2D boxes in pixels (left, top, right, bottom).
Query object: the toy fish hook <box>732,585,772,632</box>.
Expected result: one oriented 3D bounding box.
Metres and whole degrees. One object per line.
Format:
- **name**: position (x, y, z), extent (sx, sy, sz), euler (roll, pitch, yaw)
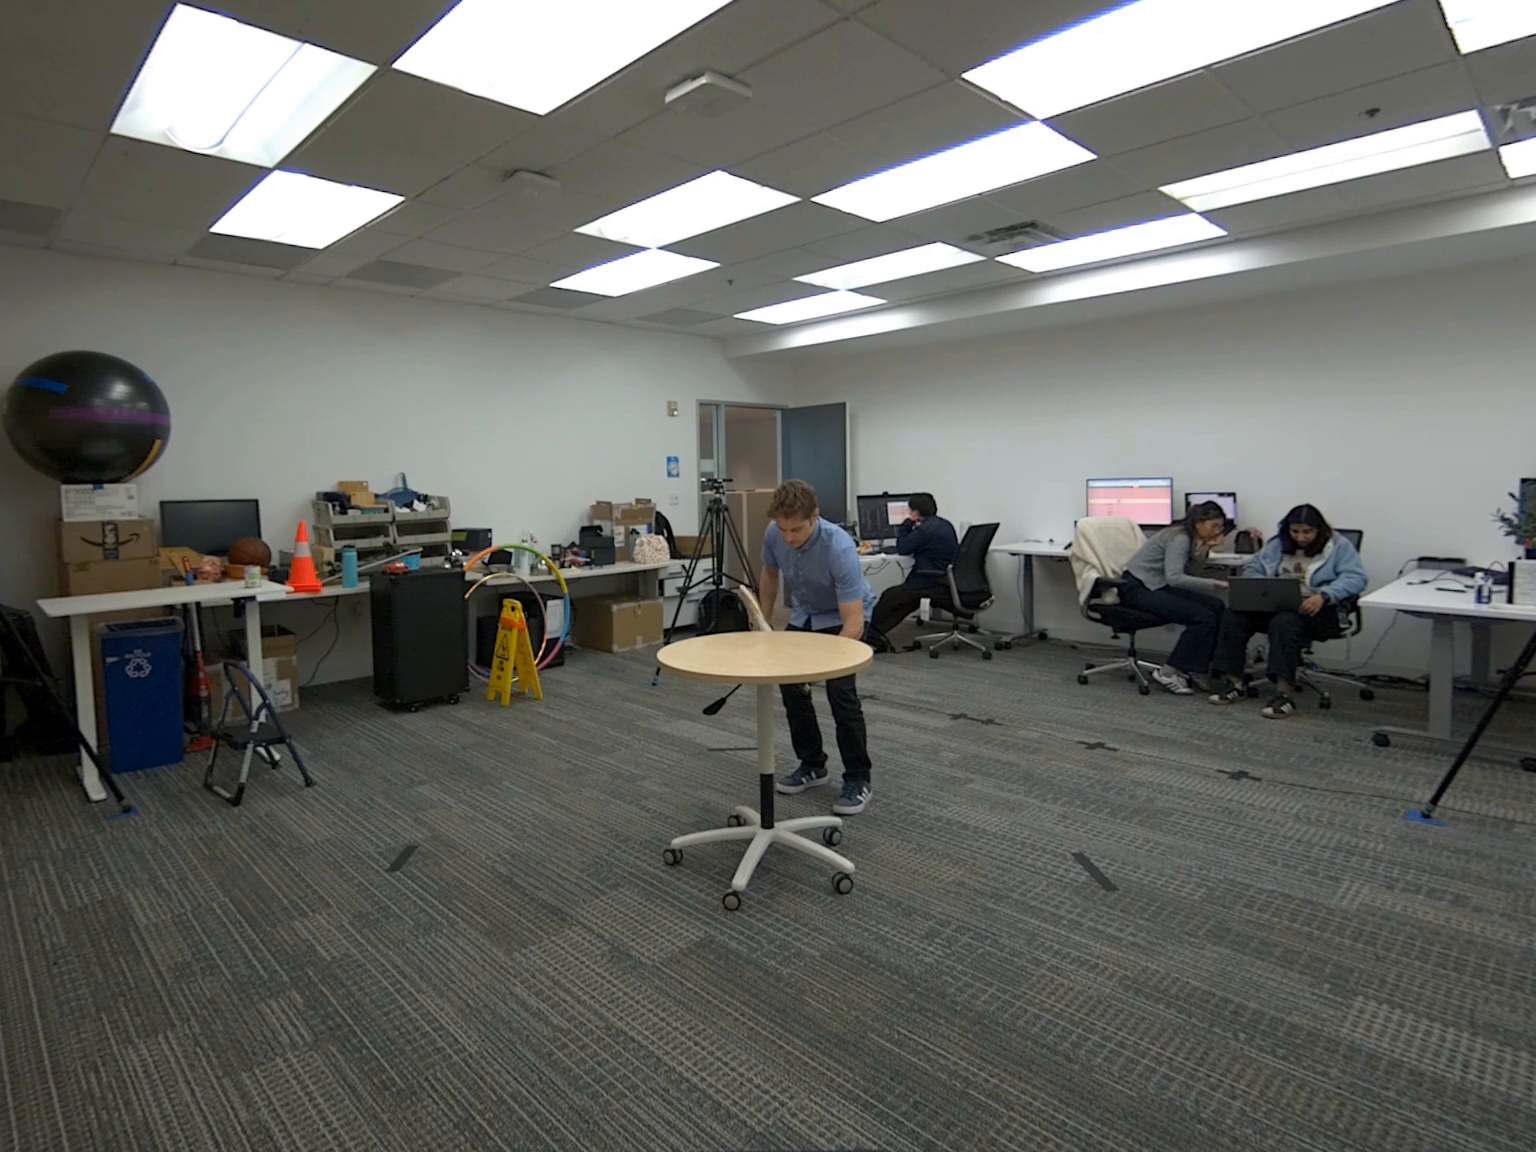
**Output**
- **toy fish hook**: position (0.017, 0.248, 3.425), extent (0.048, 0.522, 0.218), euler (-33, -24, -2)
